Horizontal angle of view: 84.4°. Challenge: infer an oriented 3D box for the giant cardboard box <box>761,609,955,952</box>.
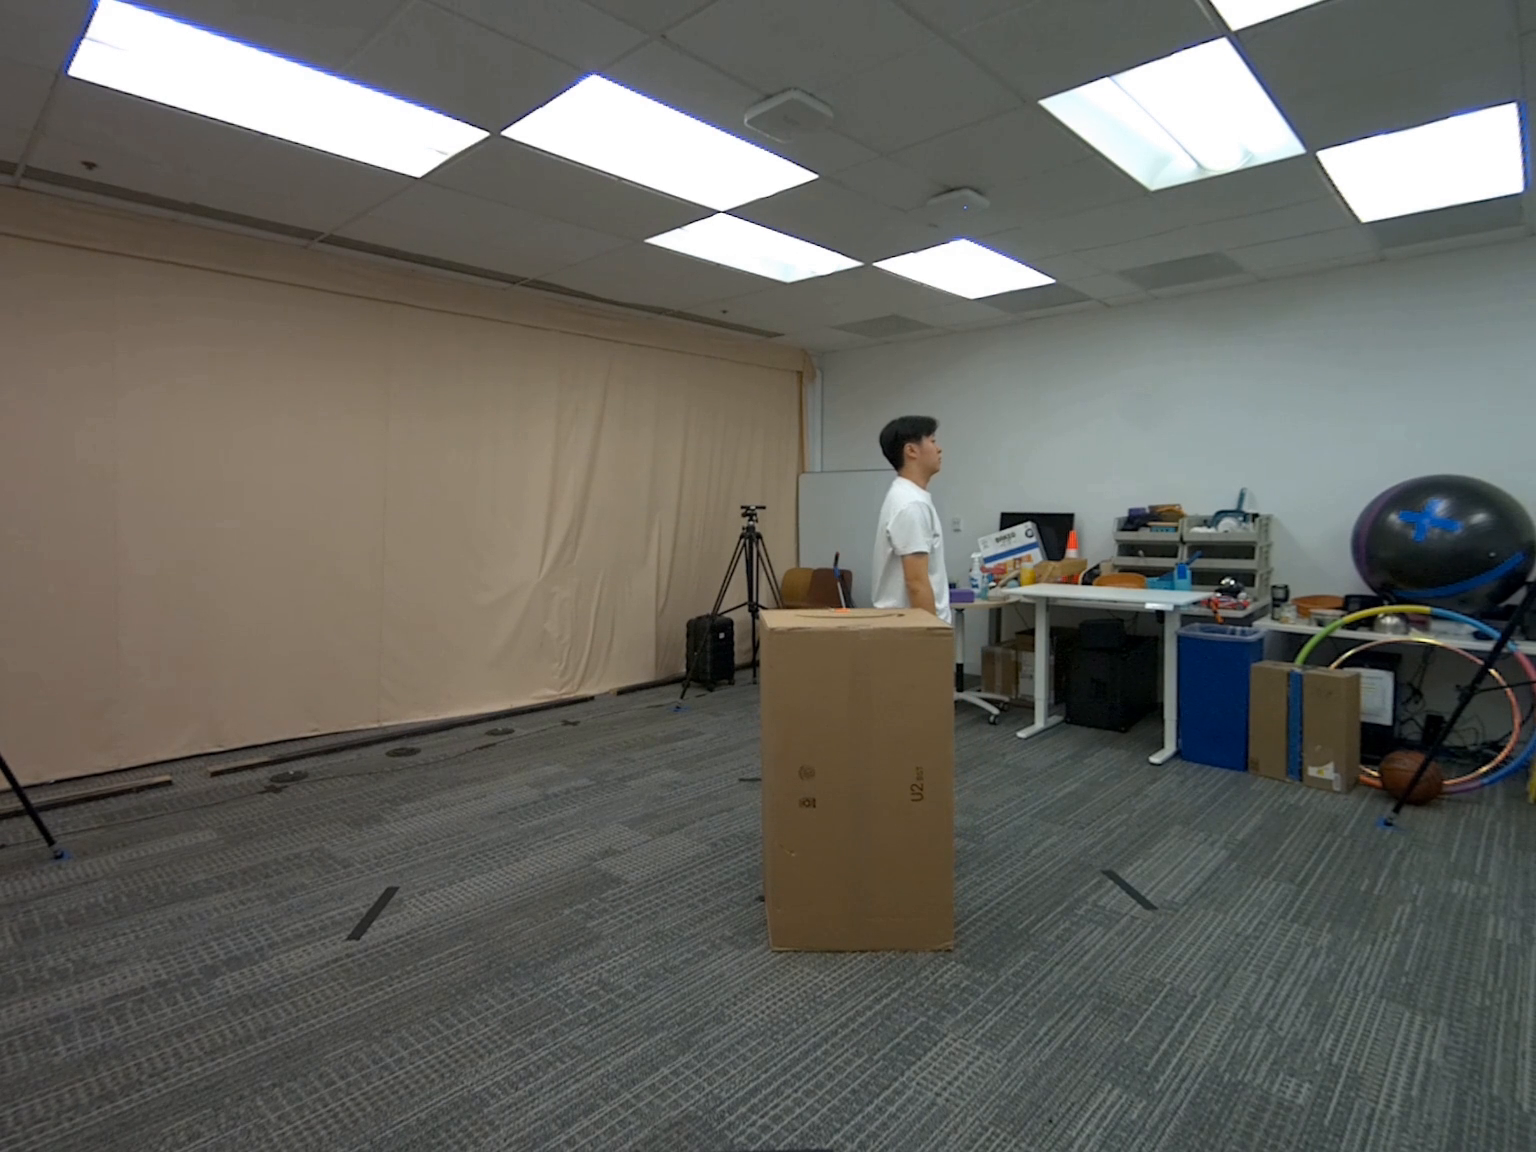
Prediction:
[{"bbox_3d":[0.276,0.646,2.810,0.578,1.023,0.427,0,3,0],"label":"giant cardboard box"}]
